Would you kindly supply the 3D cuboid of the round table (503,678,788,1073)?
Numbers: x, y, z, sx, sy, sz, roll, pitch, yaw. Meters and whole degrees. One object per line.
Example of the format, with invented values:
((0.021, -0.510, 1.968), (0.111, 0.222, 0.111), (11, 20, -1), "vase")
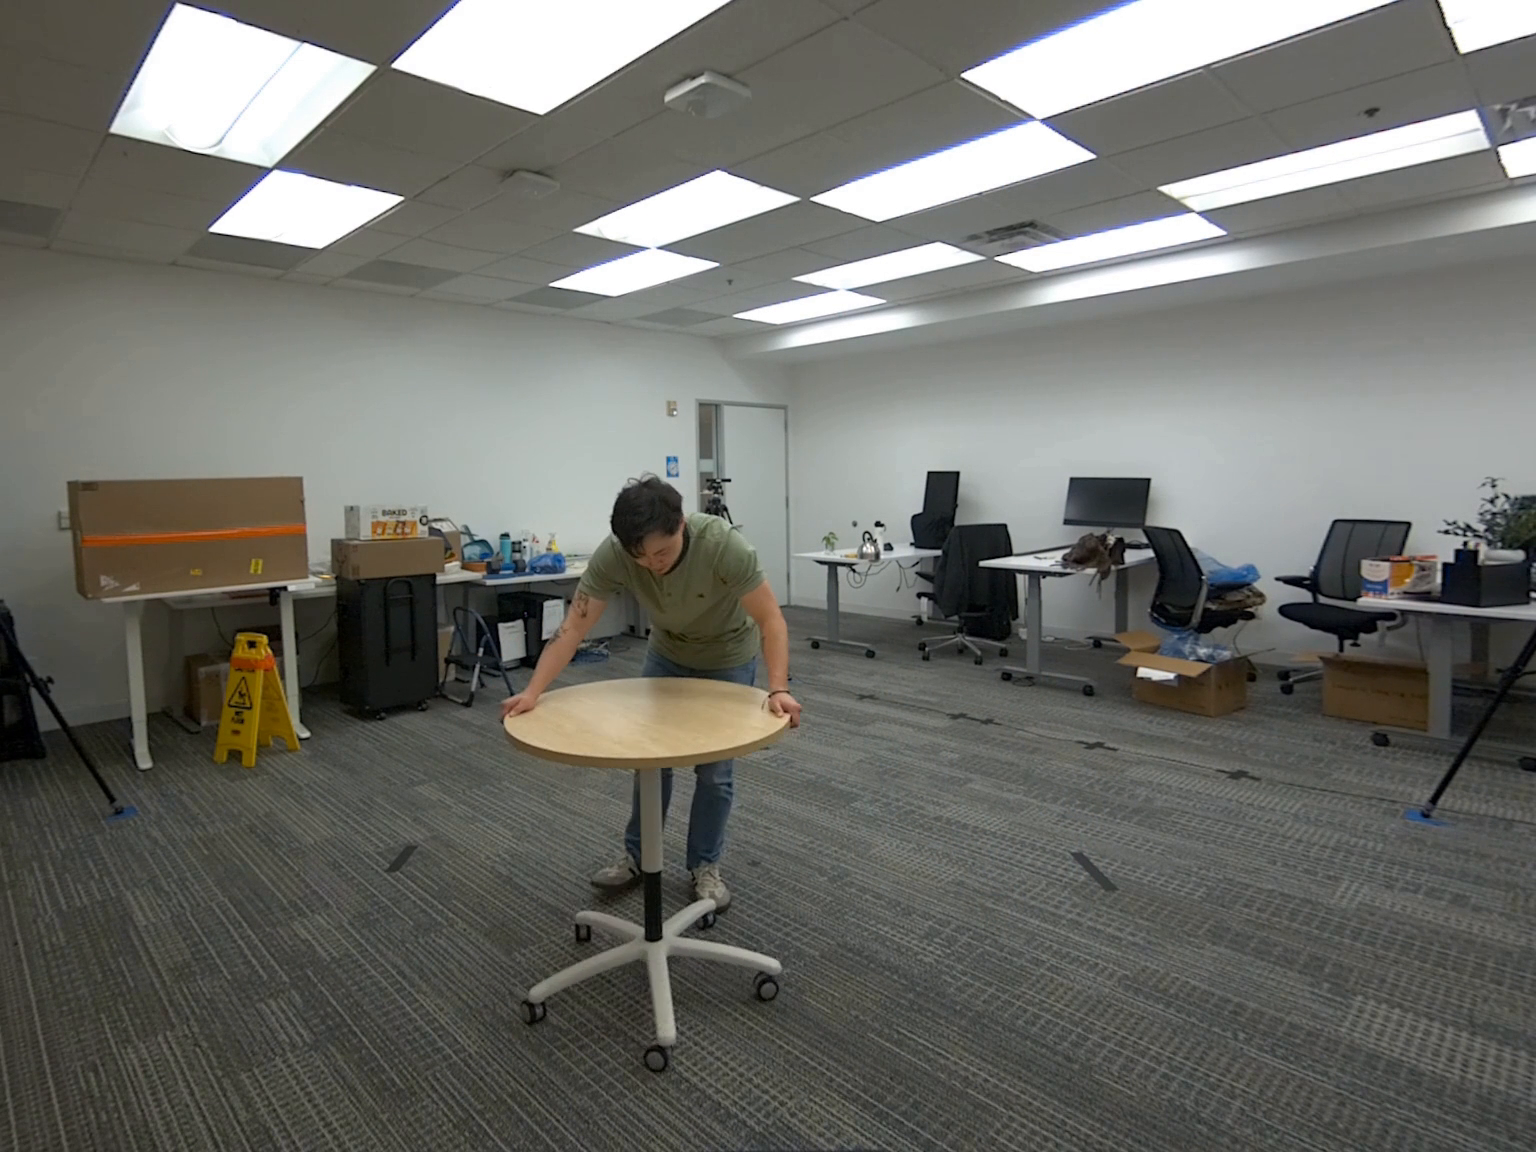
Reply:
((-0.326, 0.756, 2.343), (0.763, 0.790, 0.768), (-2, 6, -2), "round table")
